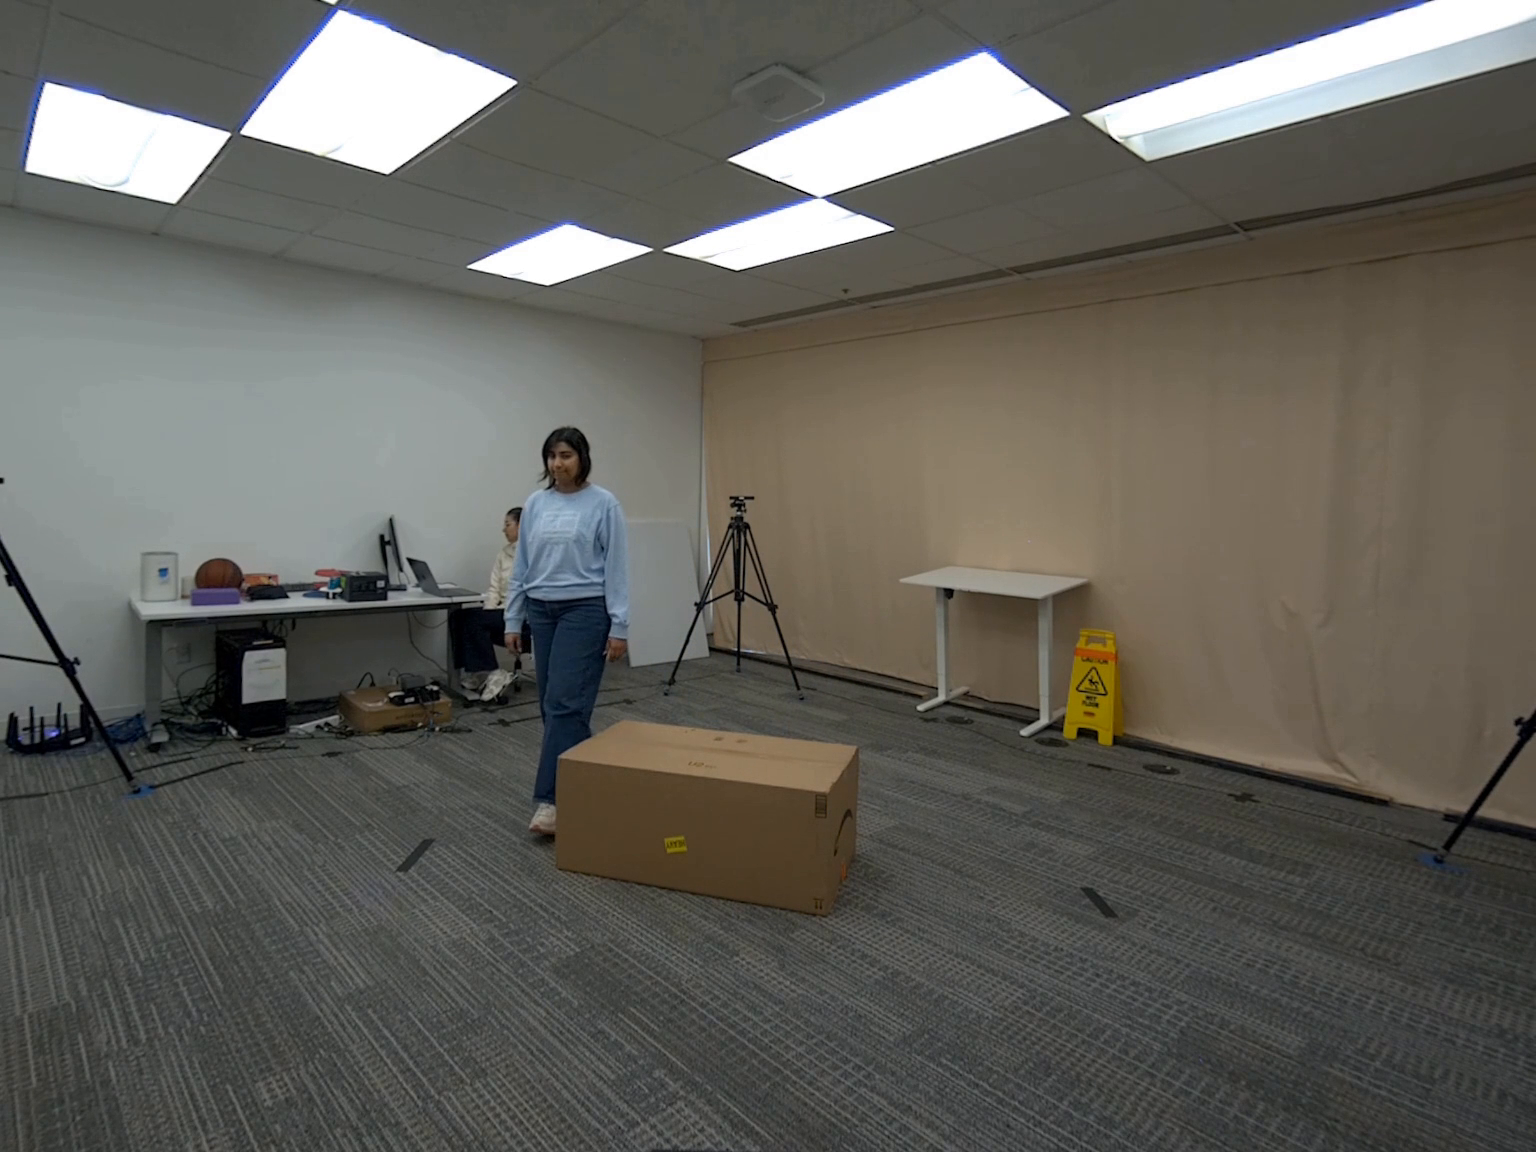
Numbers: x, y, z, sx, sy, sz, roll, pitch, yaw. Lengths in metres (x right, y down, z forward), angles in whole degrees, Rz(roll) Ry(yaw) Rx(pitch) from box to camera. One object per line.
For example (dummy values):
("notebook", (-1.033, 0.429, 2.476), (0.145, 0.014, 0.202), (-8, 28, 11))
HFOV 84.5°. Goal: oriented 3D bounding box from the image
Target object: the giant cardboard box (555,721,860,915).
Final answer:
("giant cardboard box", (-0.215, 0.875, 3.212), (1.041, 0.425, 0.571), (3, 4, 18))
